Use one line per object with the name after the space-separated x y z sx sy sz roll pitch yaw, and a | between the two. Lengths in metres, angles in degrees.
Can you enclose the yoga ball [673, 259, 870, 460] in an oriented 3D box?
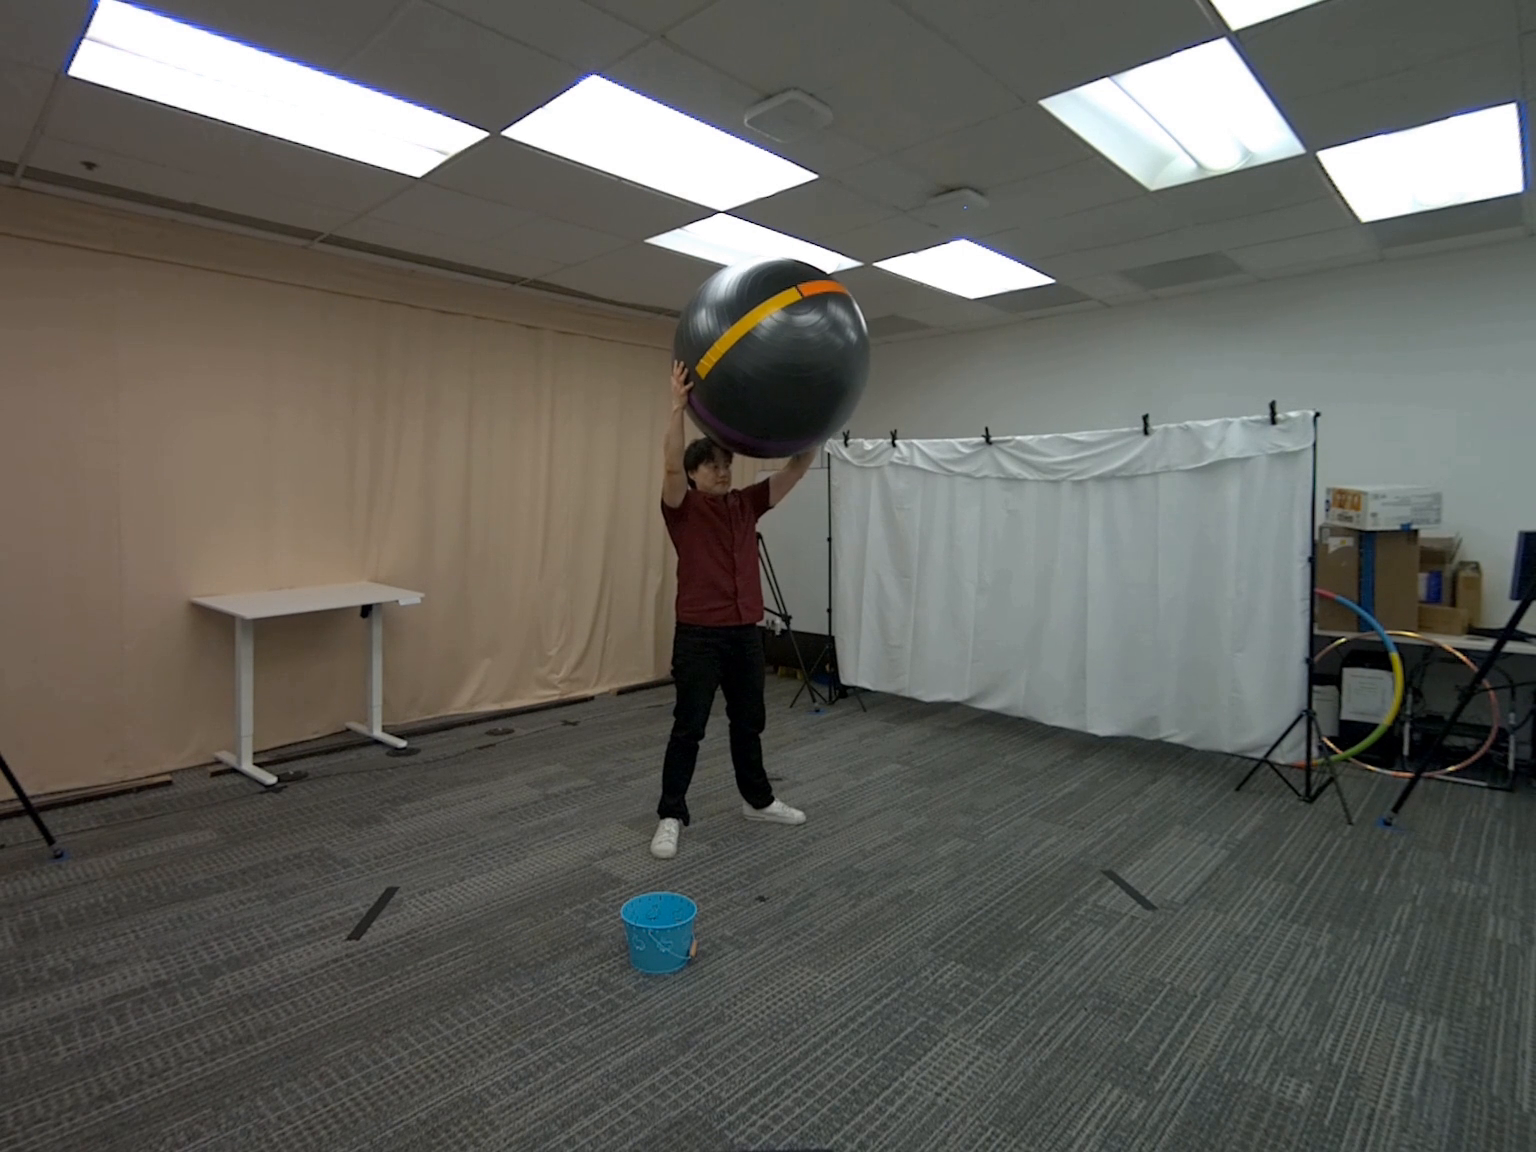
0.012 -0.822 3.231 0.757 0.756 0.760 0 4 -2 | yoga ball
